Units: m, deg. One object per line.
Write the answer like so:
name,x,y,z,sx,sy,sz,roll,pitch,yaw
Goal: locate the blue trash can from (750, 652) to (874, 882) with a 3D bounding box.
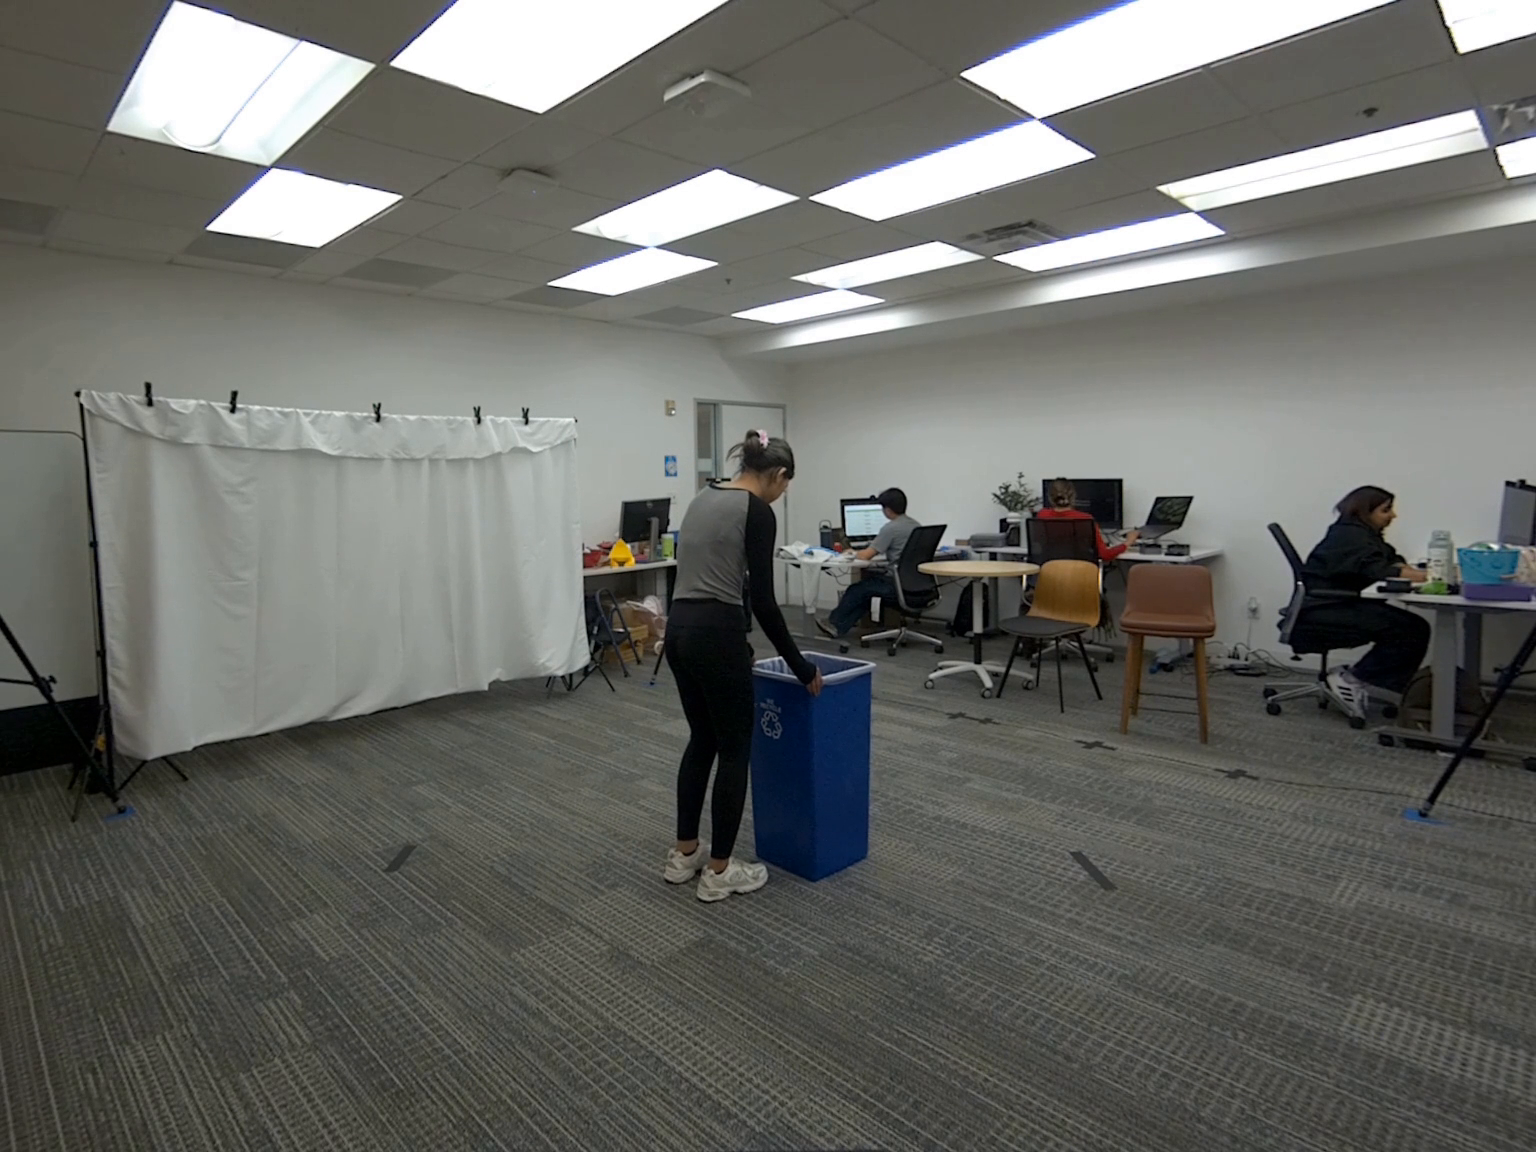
blue trash can,0.161,0.675,3.132,0.368,0.711,0.385,-5,5,-43
